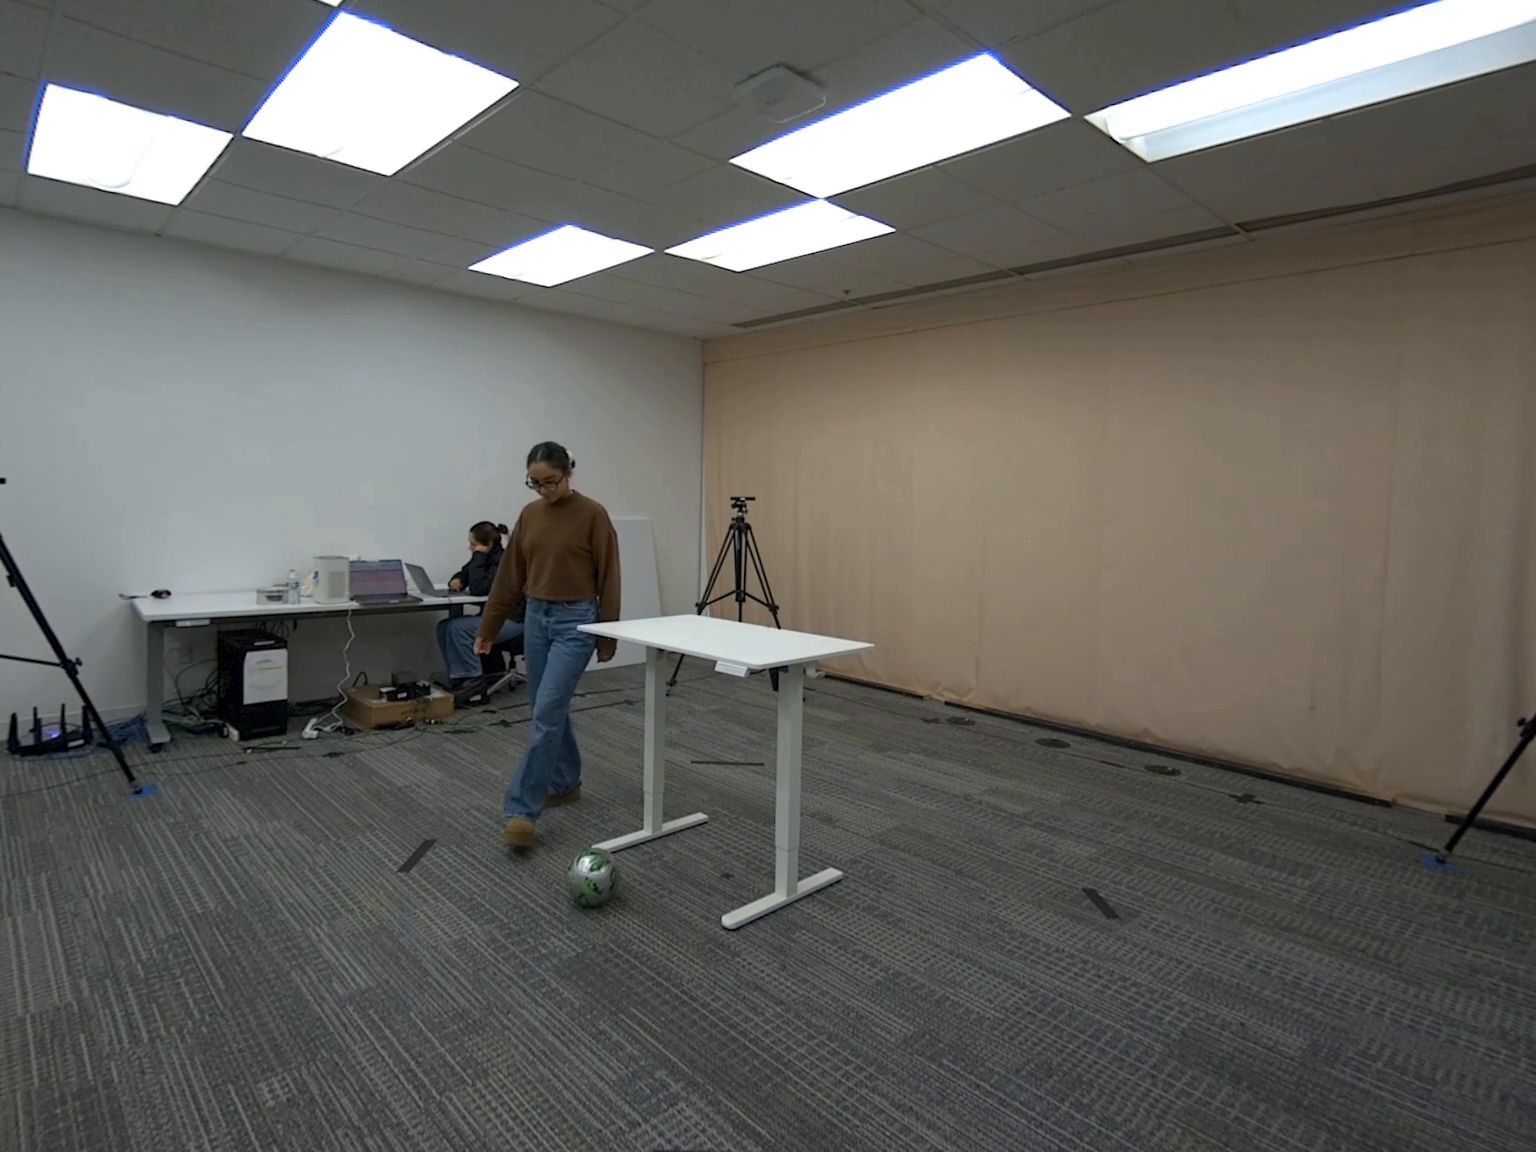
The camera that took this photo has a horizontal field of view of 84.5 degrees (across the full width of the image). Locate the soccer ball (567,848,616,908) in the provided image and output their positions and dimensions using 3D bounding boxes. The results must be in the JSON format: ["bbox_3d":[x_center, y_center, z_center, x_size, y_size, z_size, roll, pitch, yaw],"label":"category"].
[{"bbox_3d":[-0.606,1.026,2.857,0.187,0.187,0.188,1,4,-1],"label":"soccer ball"}]
